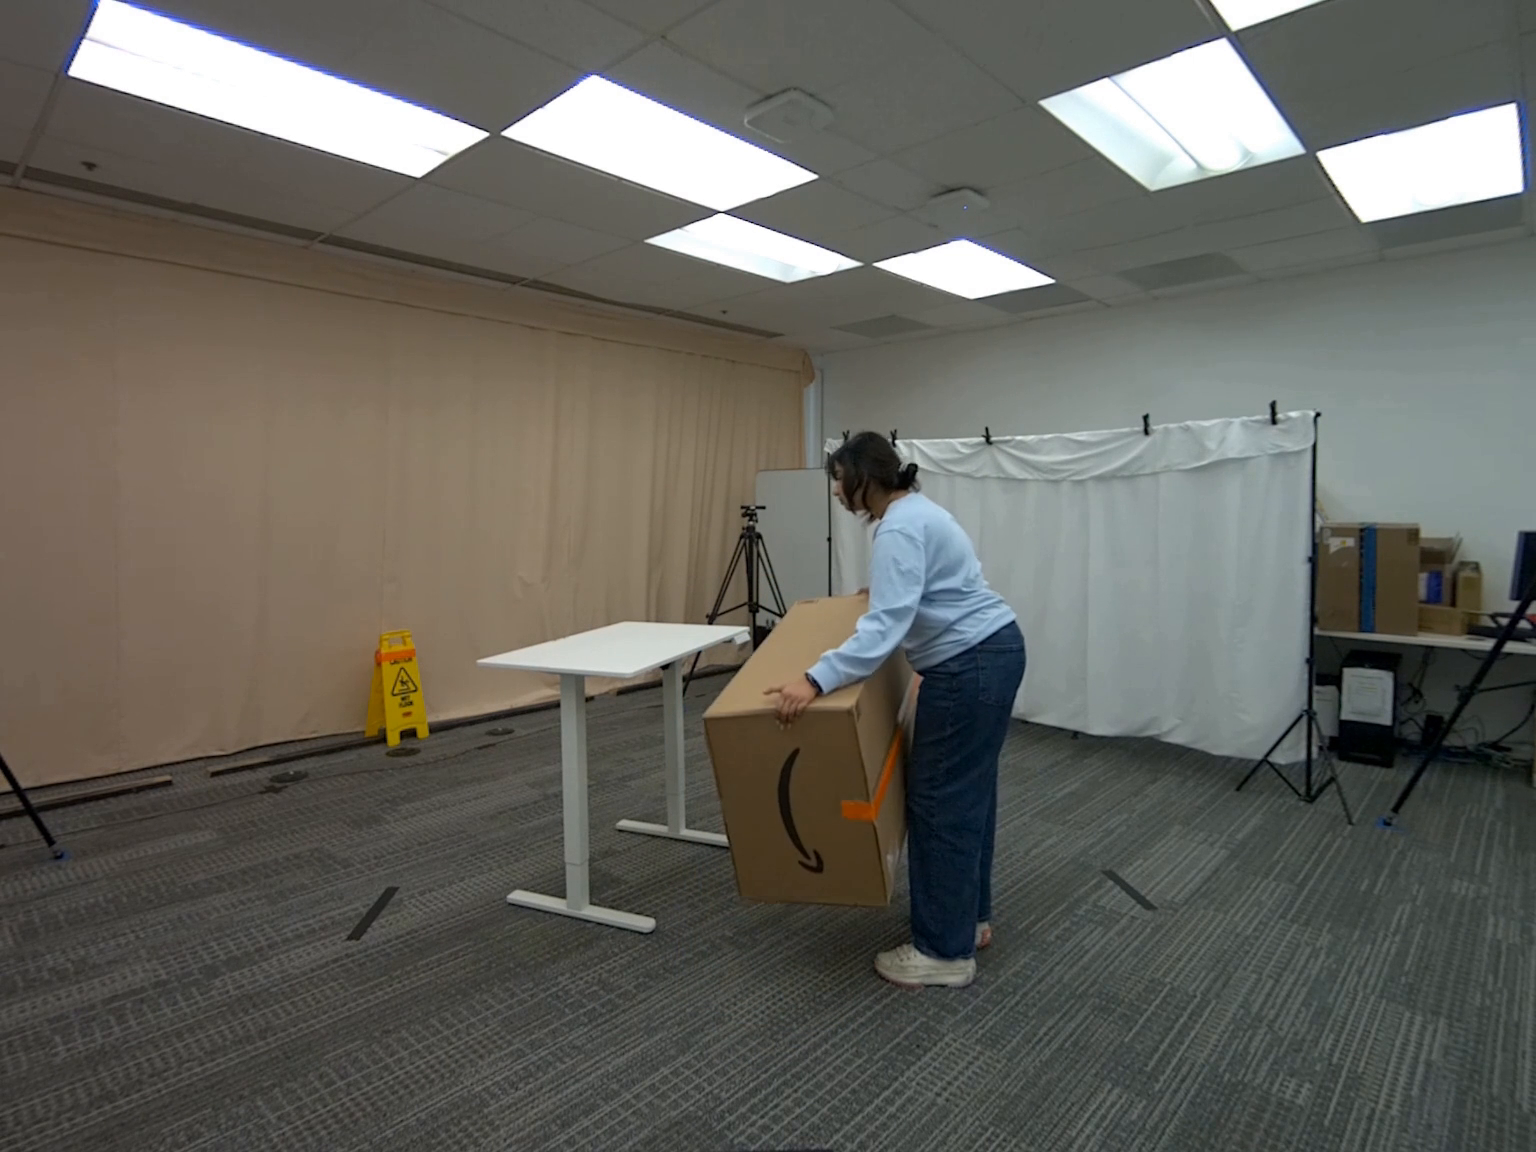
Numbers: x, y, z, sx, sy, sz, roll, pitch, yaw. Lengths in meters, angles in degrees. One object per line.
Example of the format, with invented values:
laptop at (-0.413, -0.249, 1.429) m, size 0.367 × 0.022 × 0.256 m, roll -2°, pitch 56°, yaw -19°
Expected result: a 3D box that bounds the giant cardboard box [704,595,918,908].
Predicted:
giant cardboard box at (0.218, 0.485, 2.720) m, size 0.435 × 0.572 × 1.016 m, roll -6°, pitch 14°, yaw 19°
